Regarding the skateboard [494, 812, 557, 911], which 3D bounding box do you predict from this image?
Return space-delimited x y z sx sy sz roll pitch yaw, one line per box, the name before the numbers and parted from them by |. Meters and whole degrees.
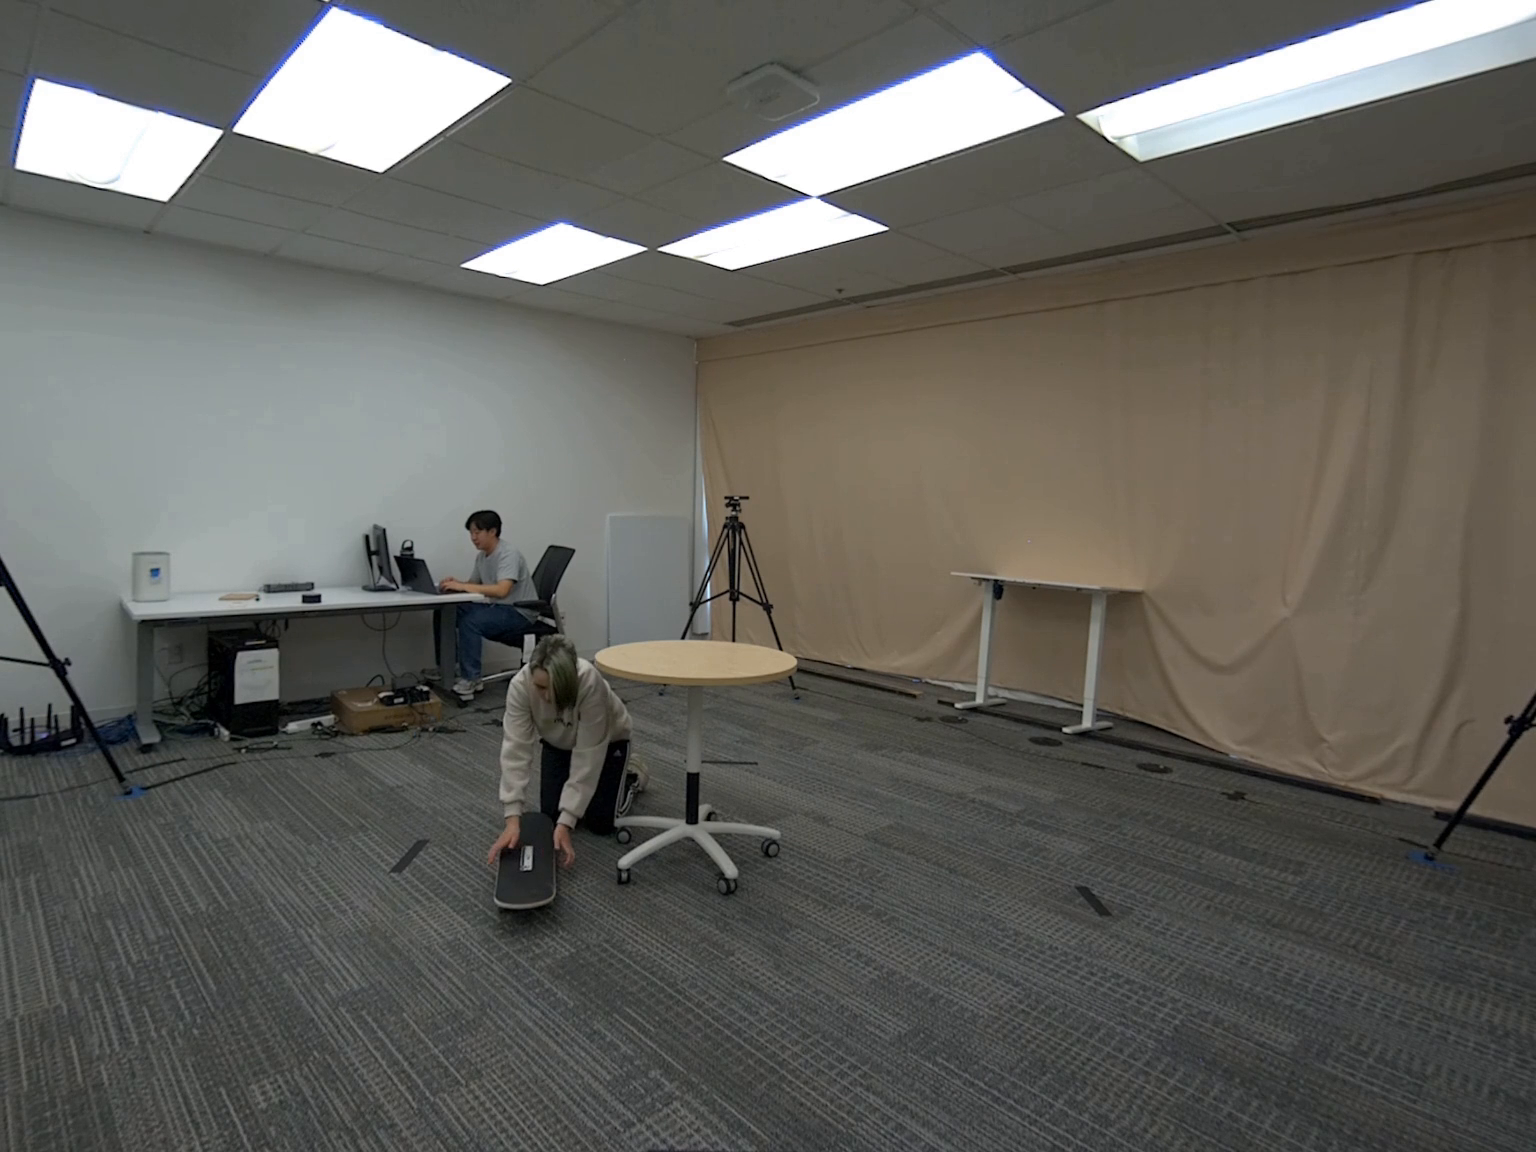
skateboard | -0.863 1.031 3.006 0.191 0.110 0.796 -1 6 -15
